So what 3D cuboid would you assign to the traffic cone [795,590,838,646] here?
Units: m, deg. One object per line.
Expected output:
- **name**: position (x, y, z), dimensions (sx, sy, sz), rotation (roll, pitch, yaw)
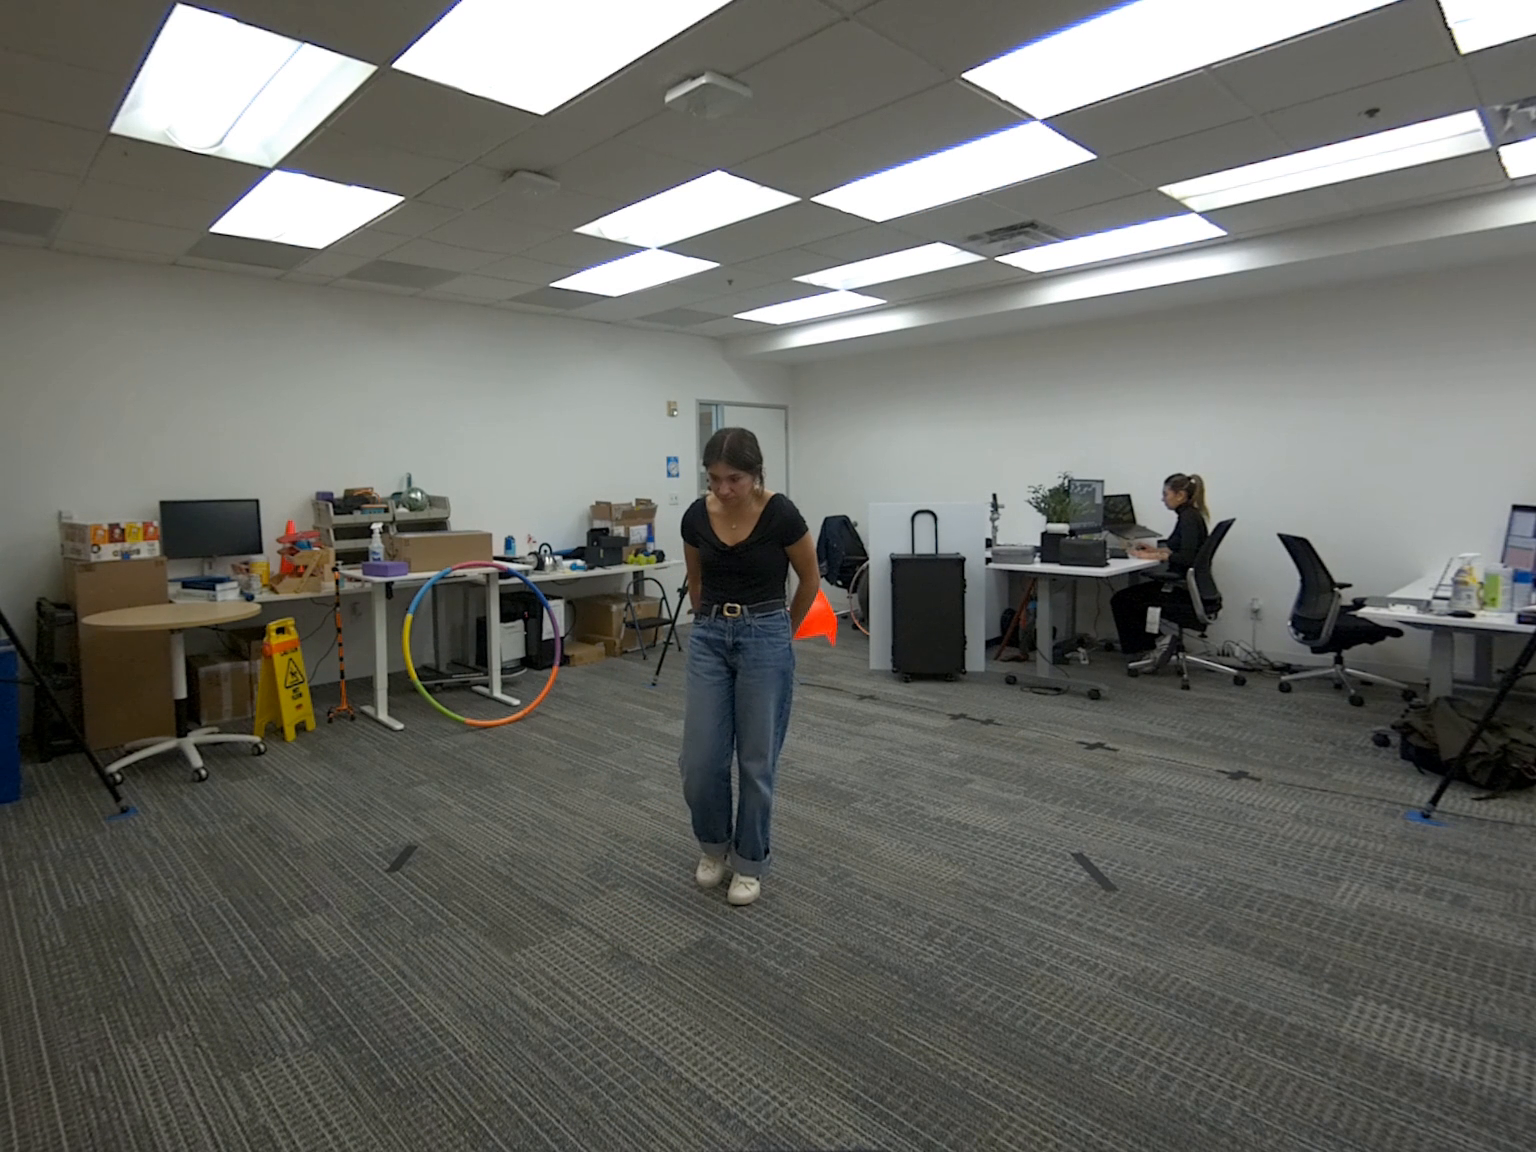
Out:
- **traffic cone**: position (0.023, 0.206, 3.136), dimensions (0.381, 0.210, 0.199), rotation (-19, -36, -9)
